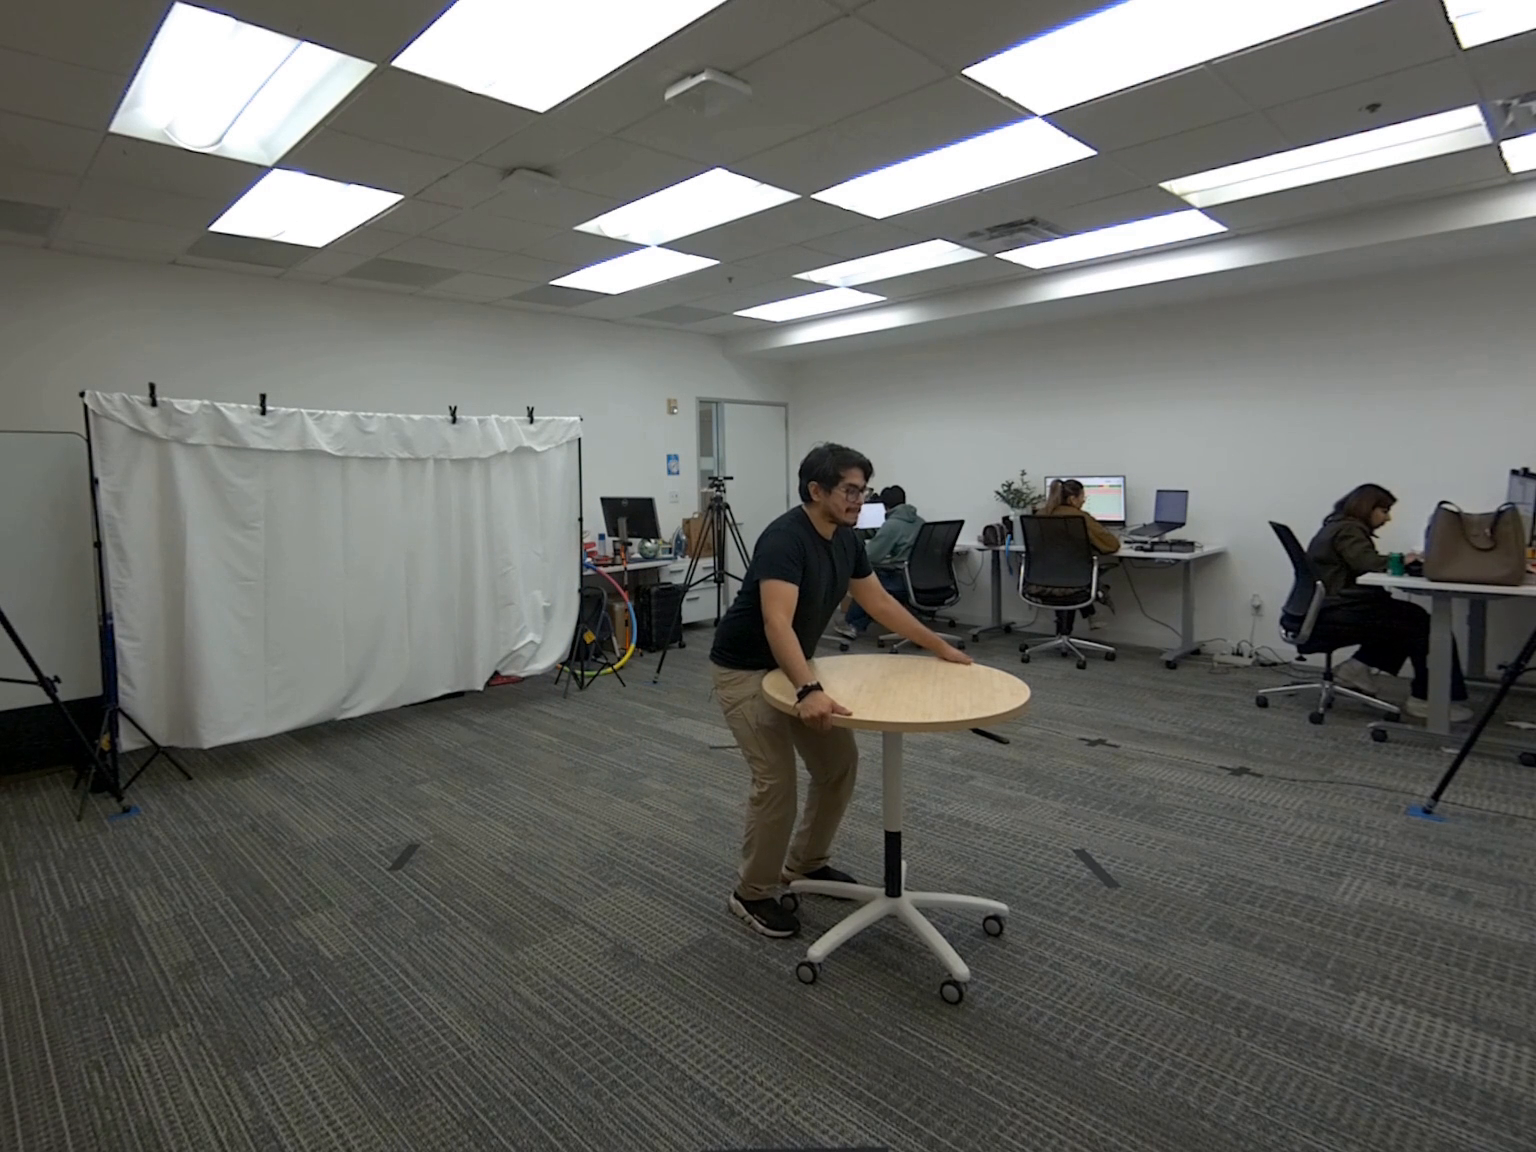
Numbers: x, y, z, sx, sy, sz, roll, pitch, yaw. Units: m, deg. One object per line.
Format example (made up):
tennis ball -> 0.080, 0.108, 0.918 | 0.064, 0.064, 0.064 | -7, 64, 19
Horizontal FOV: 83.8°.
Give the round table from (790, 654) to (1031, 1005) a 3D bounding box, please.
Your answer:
round table -> 0.387, 0.697, 2.547 | 0.784, 0.783, 0.790 | -1, 6, -2
